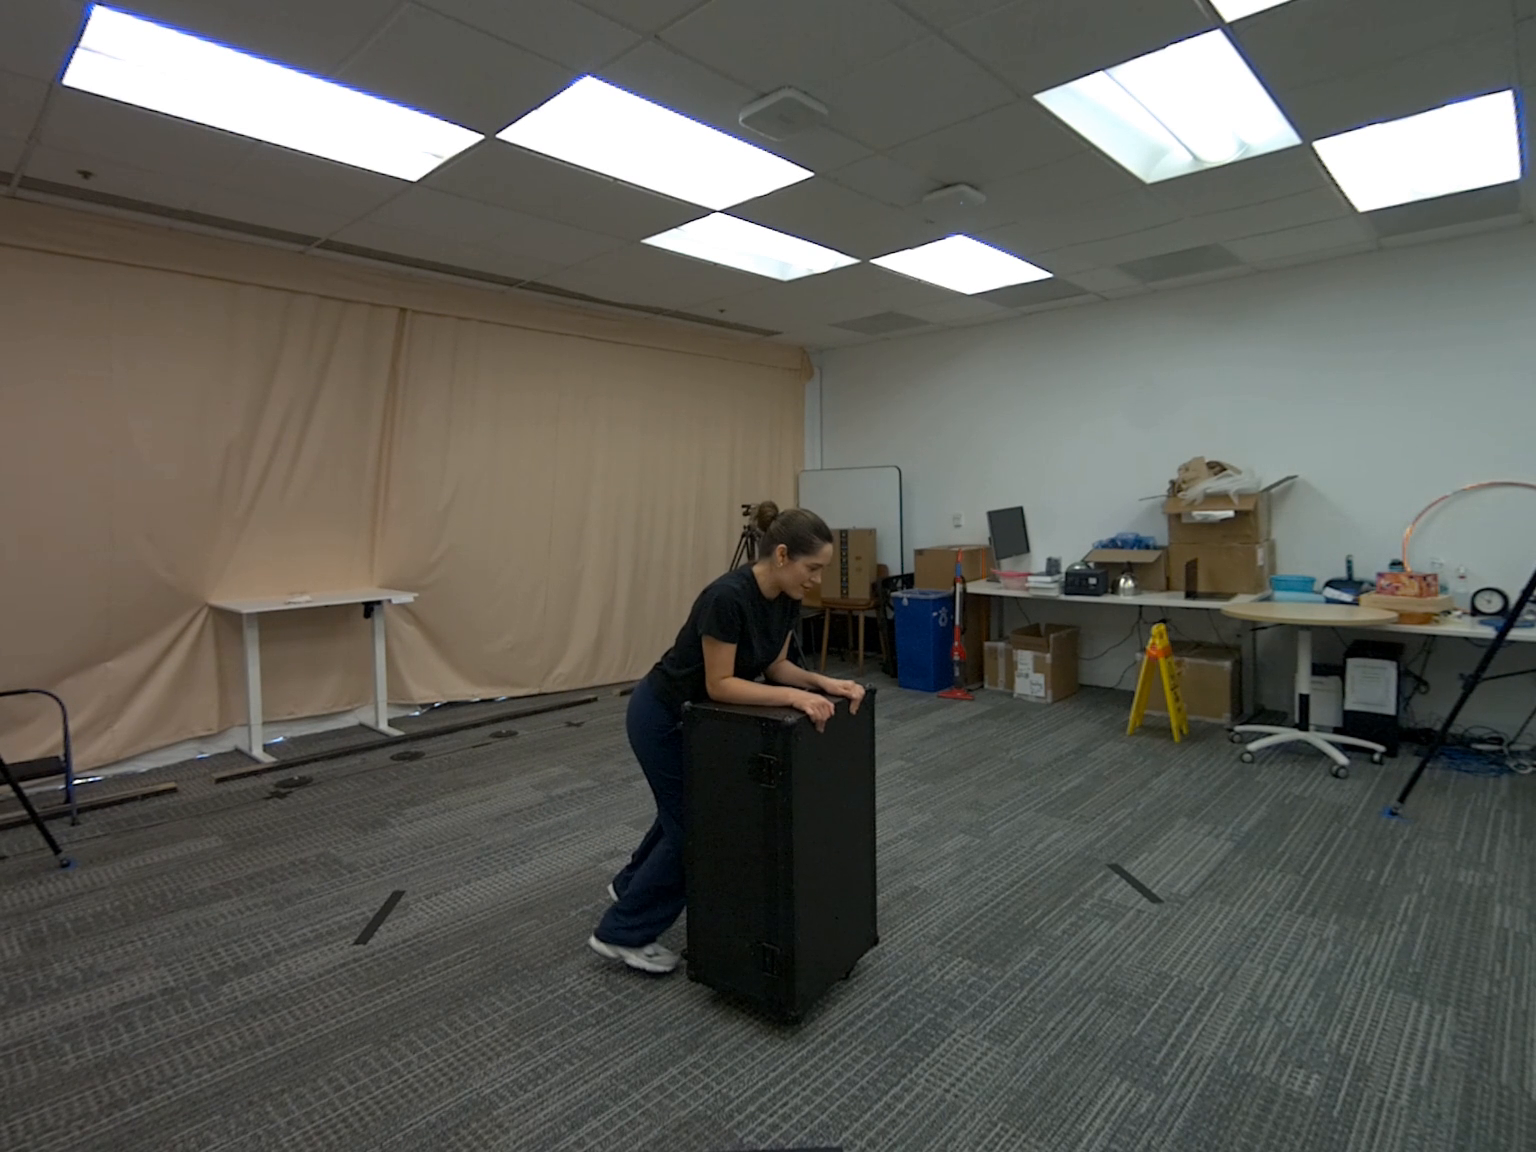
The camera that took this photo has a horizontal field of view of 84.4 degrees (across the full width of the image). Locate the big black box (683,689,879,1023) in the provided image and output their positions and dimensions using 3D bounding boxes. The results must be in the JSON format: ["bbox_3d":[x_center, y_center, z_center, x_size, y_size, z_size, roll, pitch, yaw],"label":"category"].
[{"bbox_3d":[0.062,0.707,2.428,0.408,0.859,0.507,2,5,34],"label":"big black box"}]
